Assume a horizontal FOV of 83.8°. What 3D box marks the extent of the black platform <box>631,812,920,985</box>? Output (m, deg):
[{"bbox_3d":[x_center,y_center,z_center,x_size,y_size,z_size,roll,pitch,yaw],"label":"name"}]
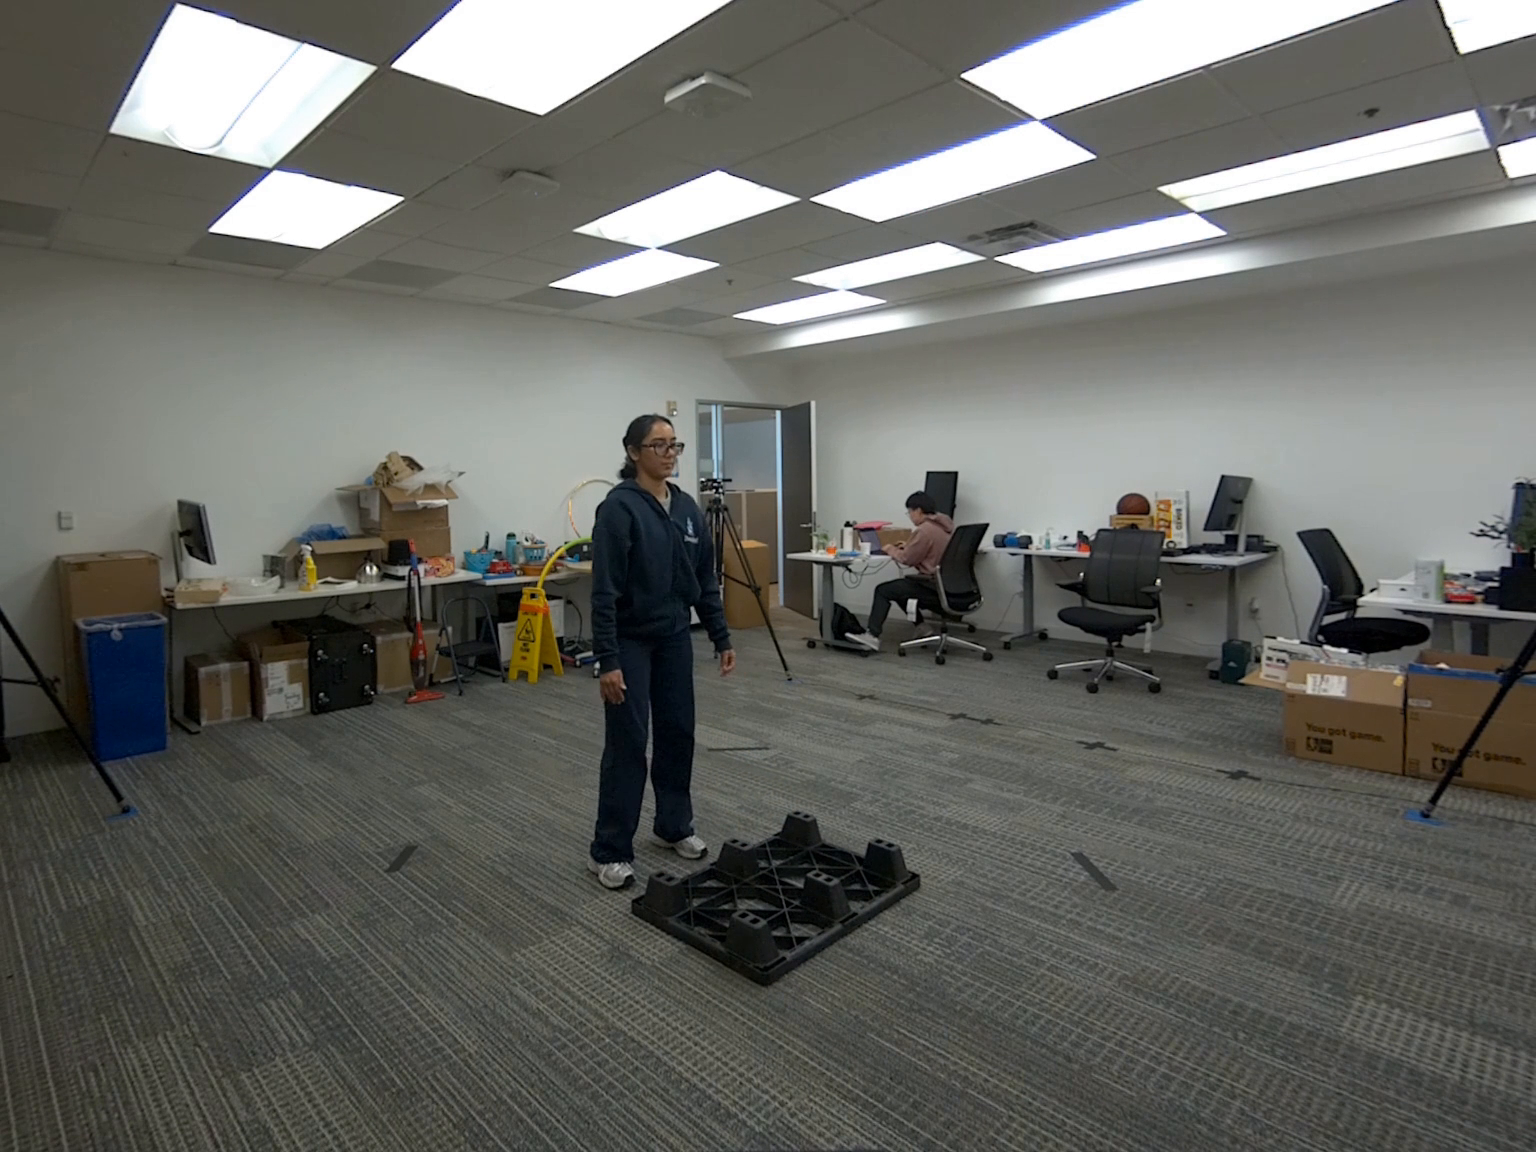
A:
[{"bbox_3d":[0.041,1.011,2.824,0.624,0.143,0.785,4,8,43],"label":"black platform"}]
